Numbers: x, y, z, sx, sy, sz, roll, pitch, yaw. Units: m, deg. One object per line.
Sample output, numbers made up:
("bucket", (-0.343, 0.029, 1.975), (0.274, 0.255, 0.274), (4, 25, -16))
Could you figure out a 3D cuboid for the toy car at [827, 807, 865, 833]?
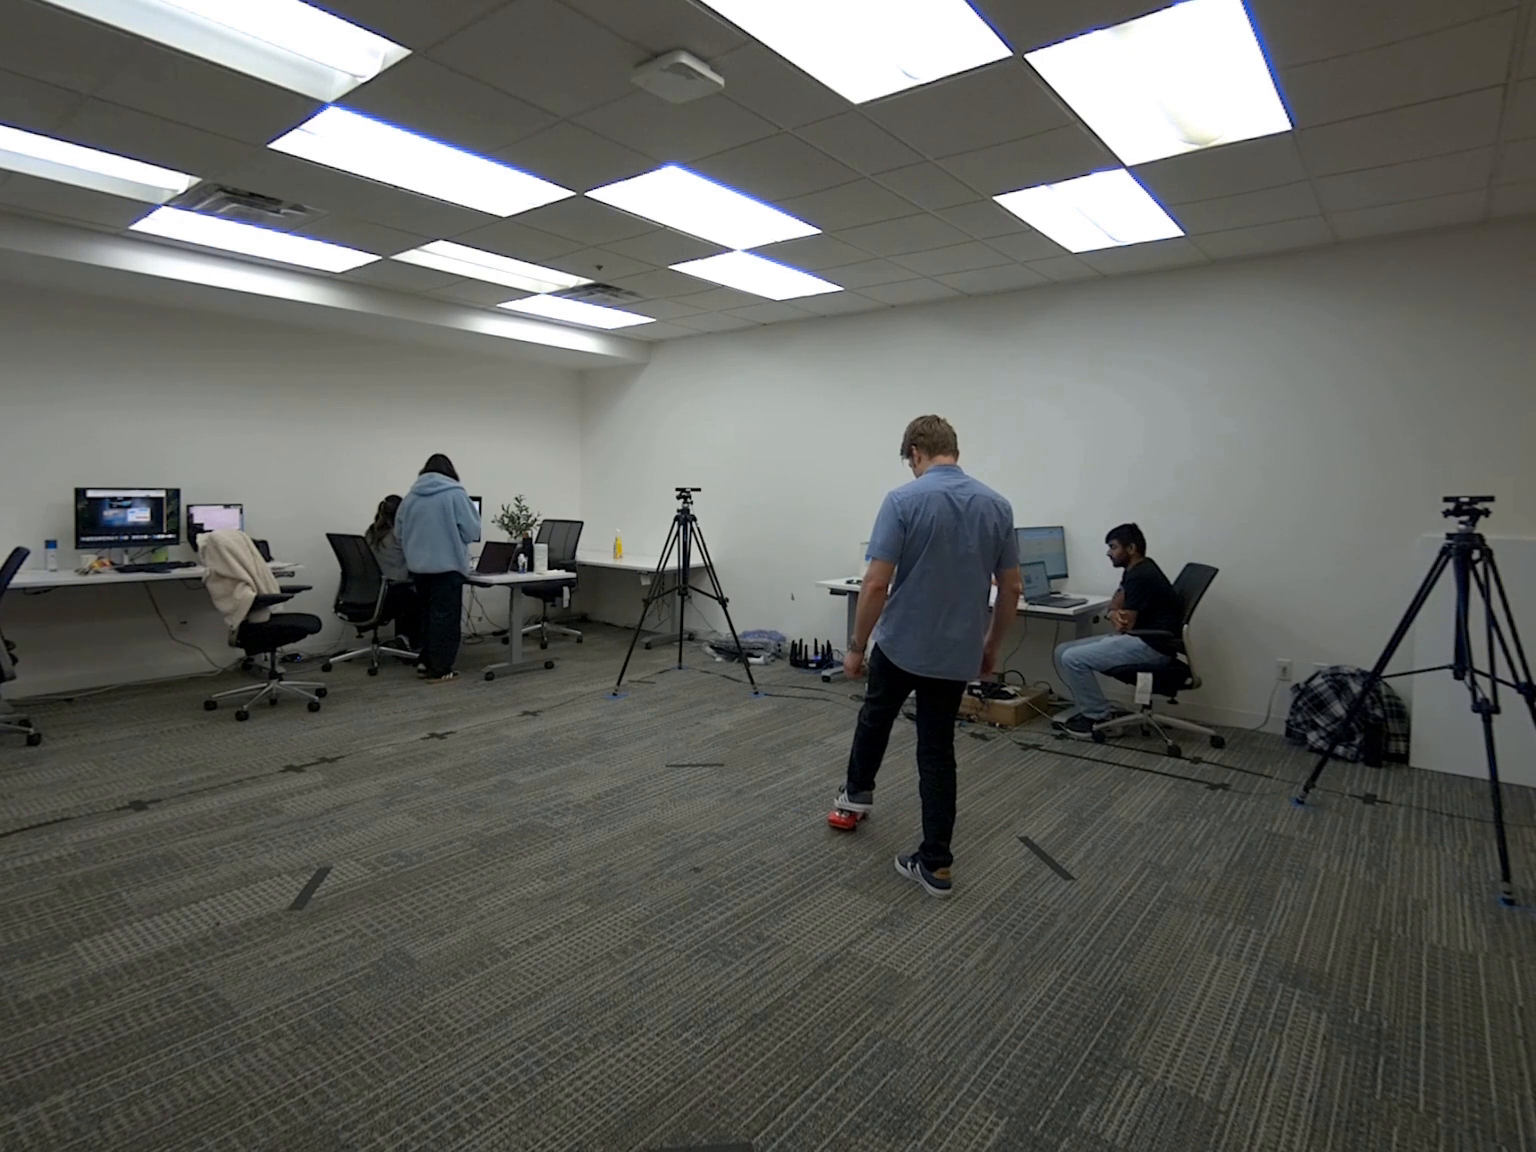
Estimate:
("toy car", (0.327, 1.004, 3.569), (0.134, 0.083, 0.246), (5, -5, 26))
